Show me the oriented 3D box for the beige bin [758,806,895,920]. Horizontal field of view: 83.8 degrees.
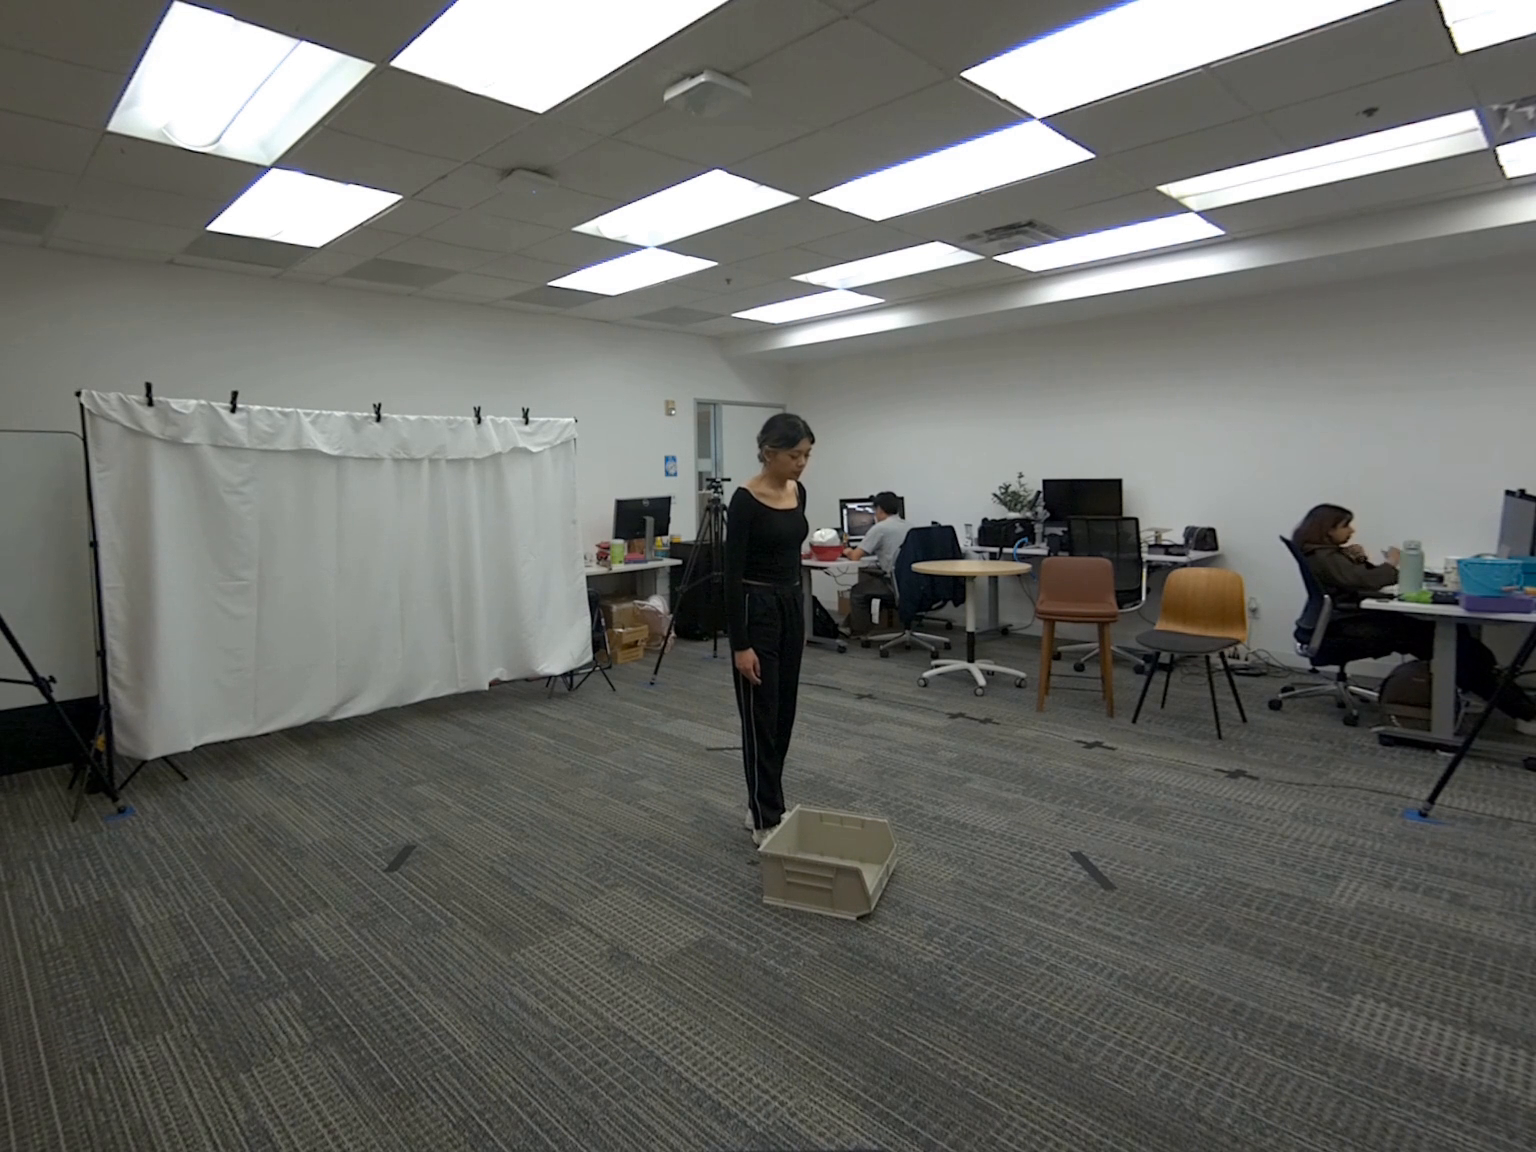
[{"bbox_3d":[0.221,0.973,2.920,0.385,0.188,0.416,0,6,21],"label":"beige bin"}]
